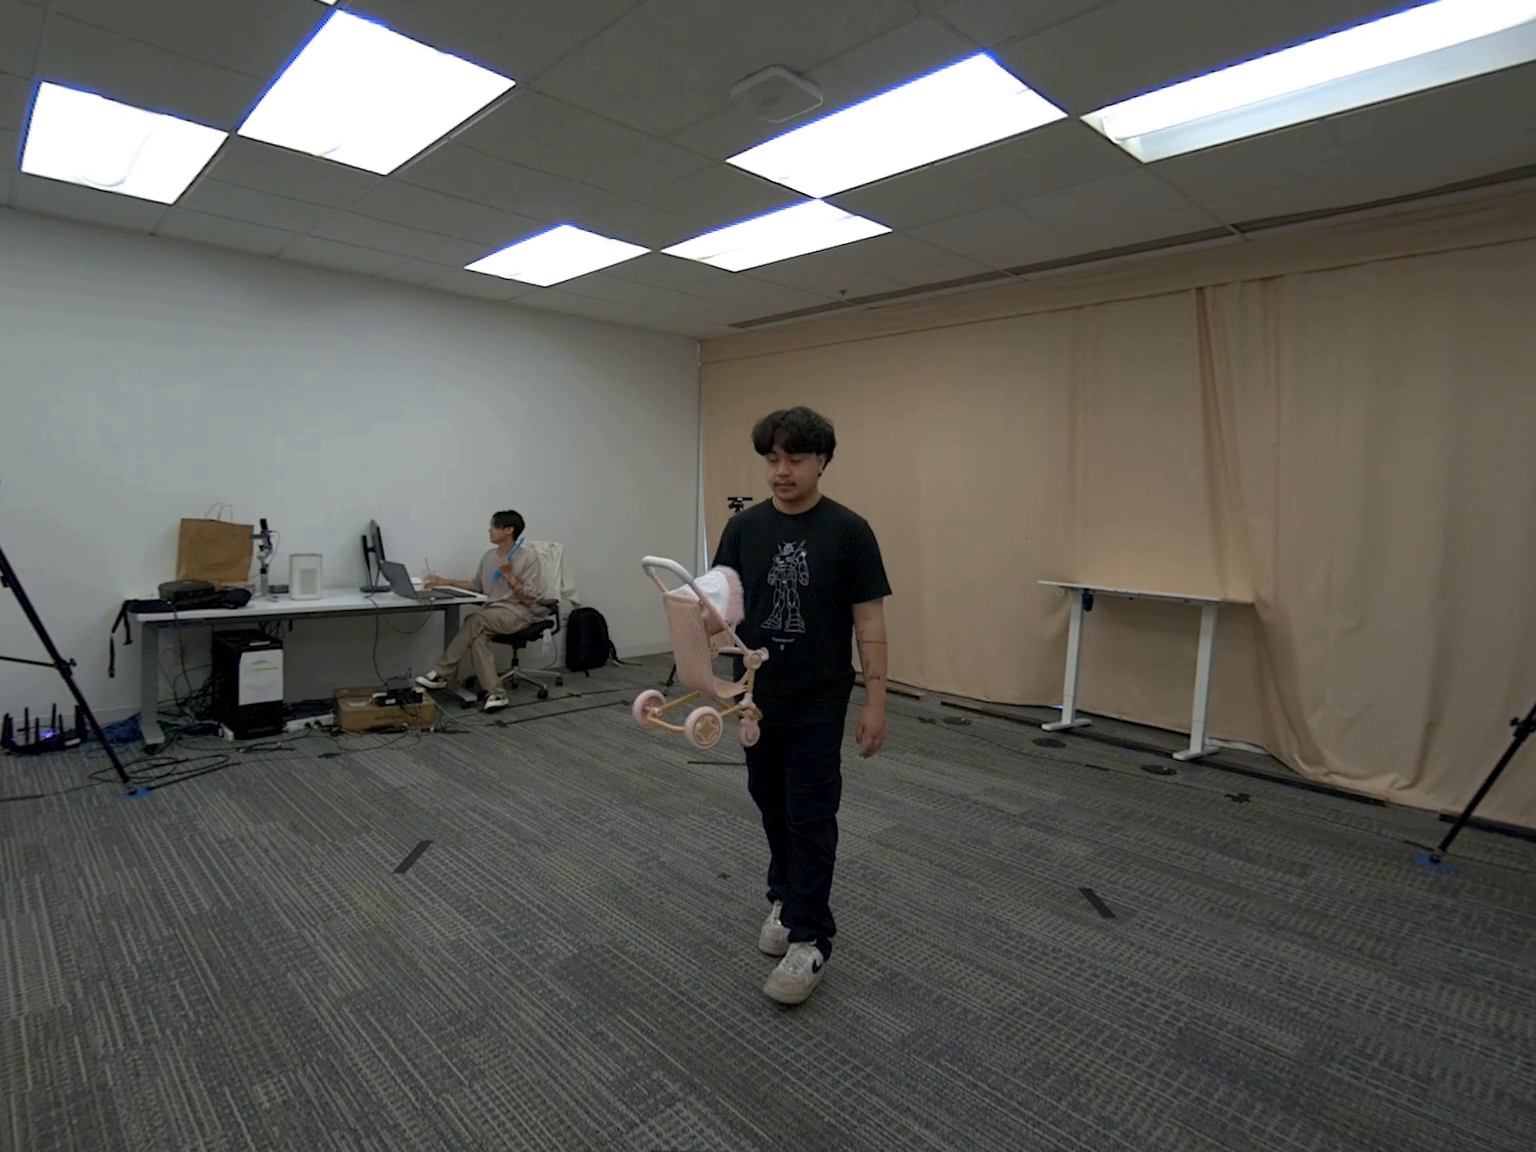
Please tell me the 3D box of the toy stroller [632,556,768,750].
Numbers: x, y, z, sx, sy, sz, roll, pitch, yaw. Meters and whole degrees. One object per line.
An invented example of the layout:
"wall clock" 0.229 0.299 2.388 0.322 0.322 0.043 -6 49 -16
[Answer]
"toy stroller" -0.153 0.218 2.244 0.334 0.534 0.288 -1 2 -33
